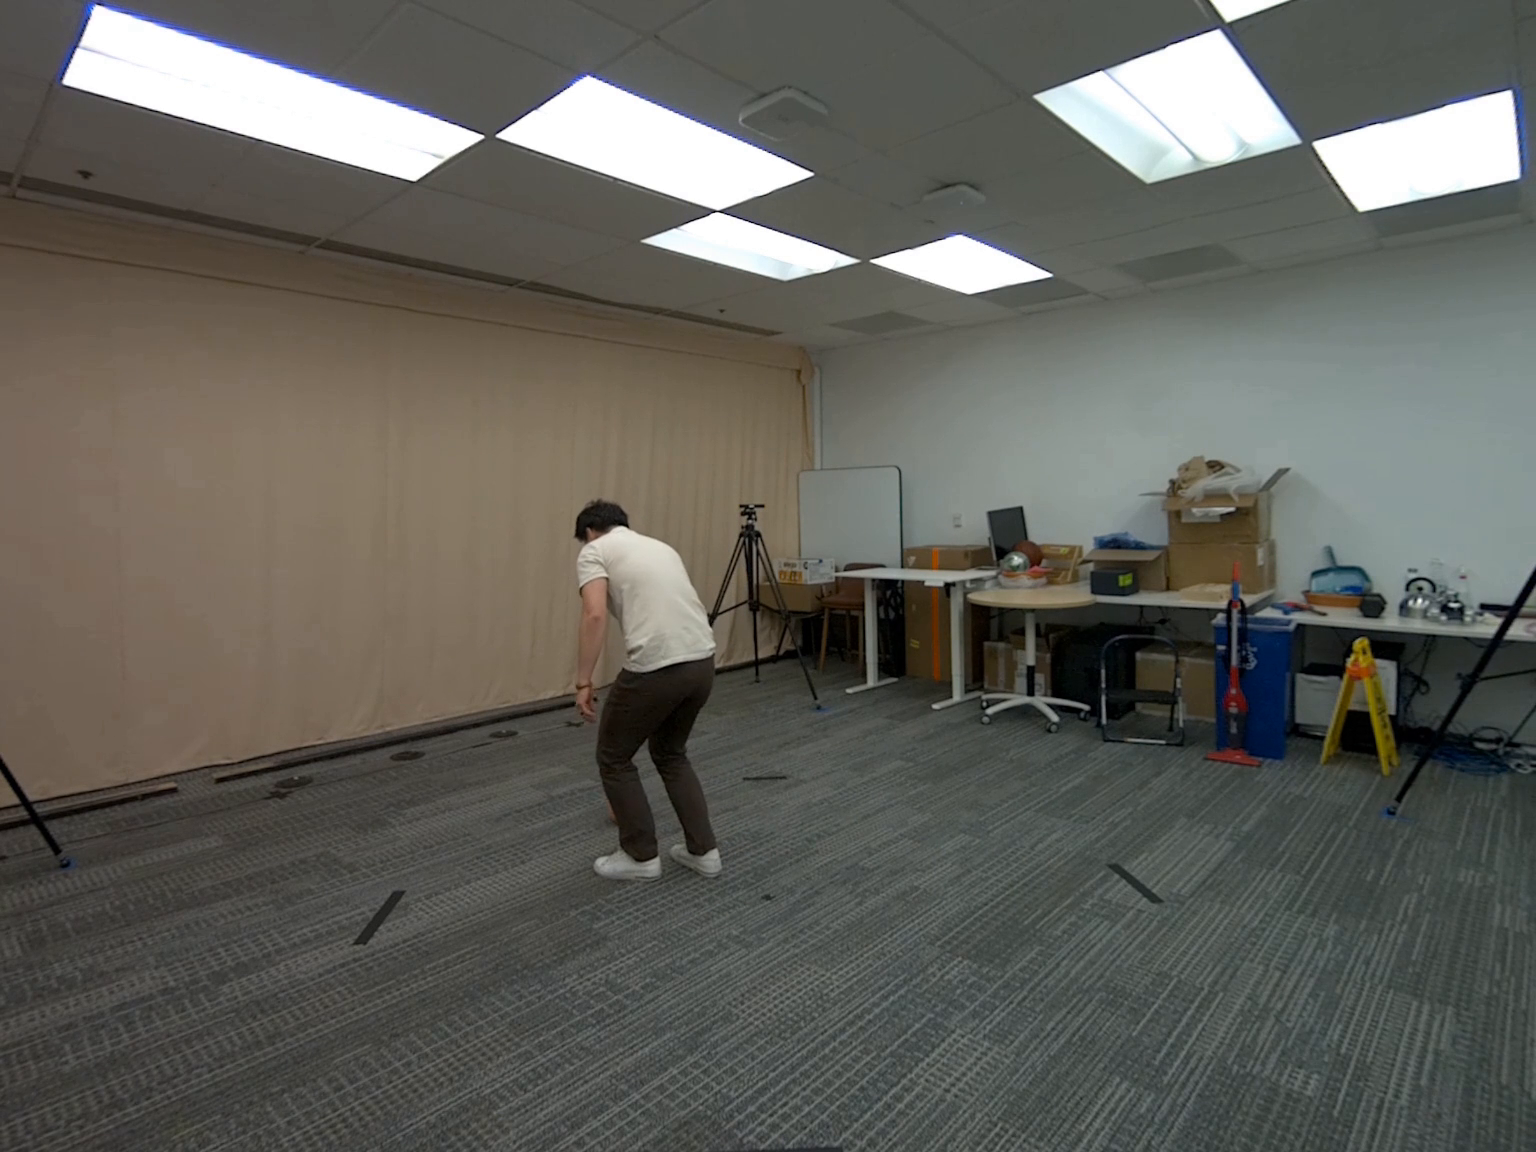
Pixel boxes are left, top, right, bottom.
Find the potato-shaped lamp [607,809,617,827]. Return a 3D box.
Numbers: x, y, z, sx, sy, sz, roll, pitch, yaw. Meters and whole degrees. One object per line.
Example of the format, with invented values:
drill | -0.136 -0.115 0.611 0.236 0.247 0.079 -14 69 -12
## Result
potato-shaped lamp | -0.628 0.986 3.740 0.160 0.197 0.177 -7 5 -43
